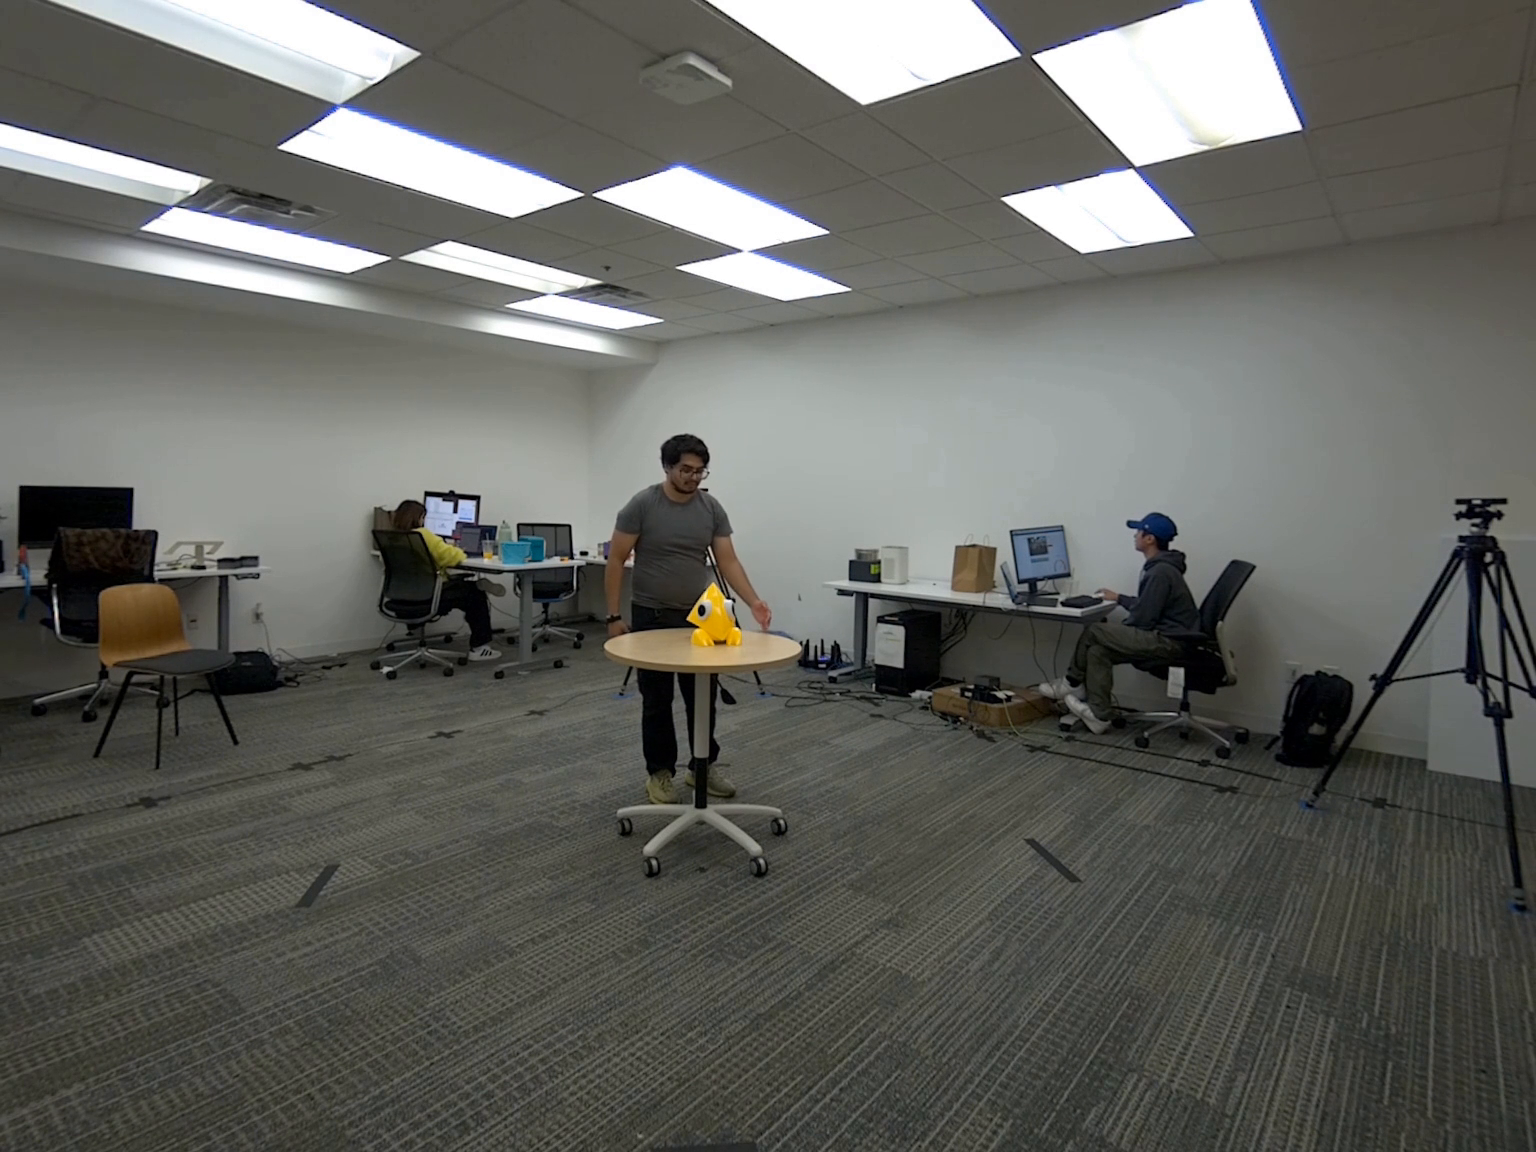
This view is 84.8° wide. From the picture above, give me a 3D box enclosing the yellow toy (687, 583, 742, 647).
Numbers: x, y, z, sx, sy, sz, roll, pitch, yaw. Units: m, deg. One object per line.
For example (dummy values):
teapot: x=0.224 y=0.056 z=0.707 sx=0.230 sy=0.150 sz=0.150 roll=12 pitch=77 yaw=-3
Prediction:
yellow toy: x=-0.216 y=0.144 z=3.374 sx=0.201 sy=0.230 sz=0.197 roll=0 pitch=4 yaw=-18
